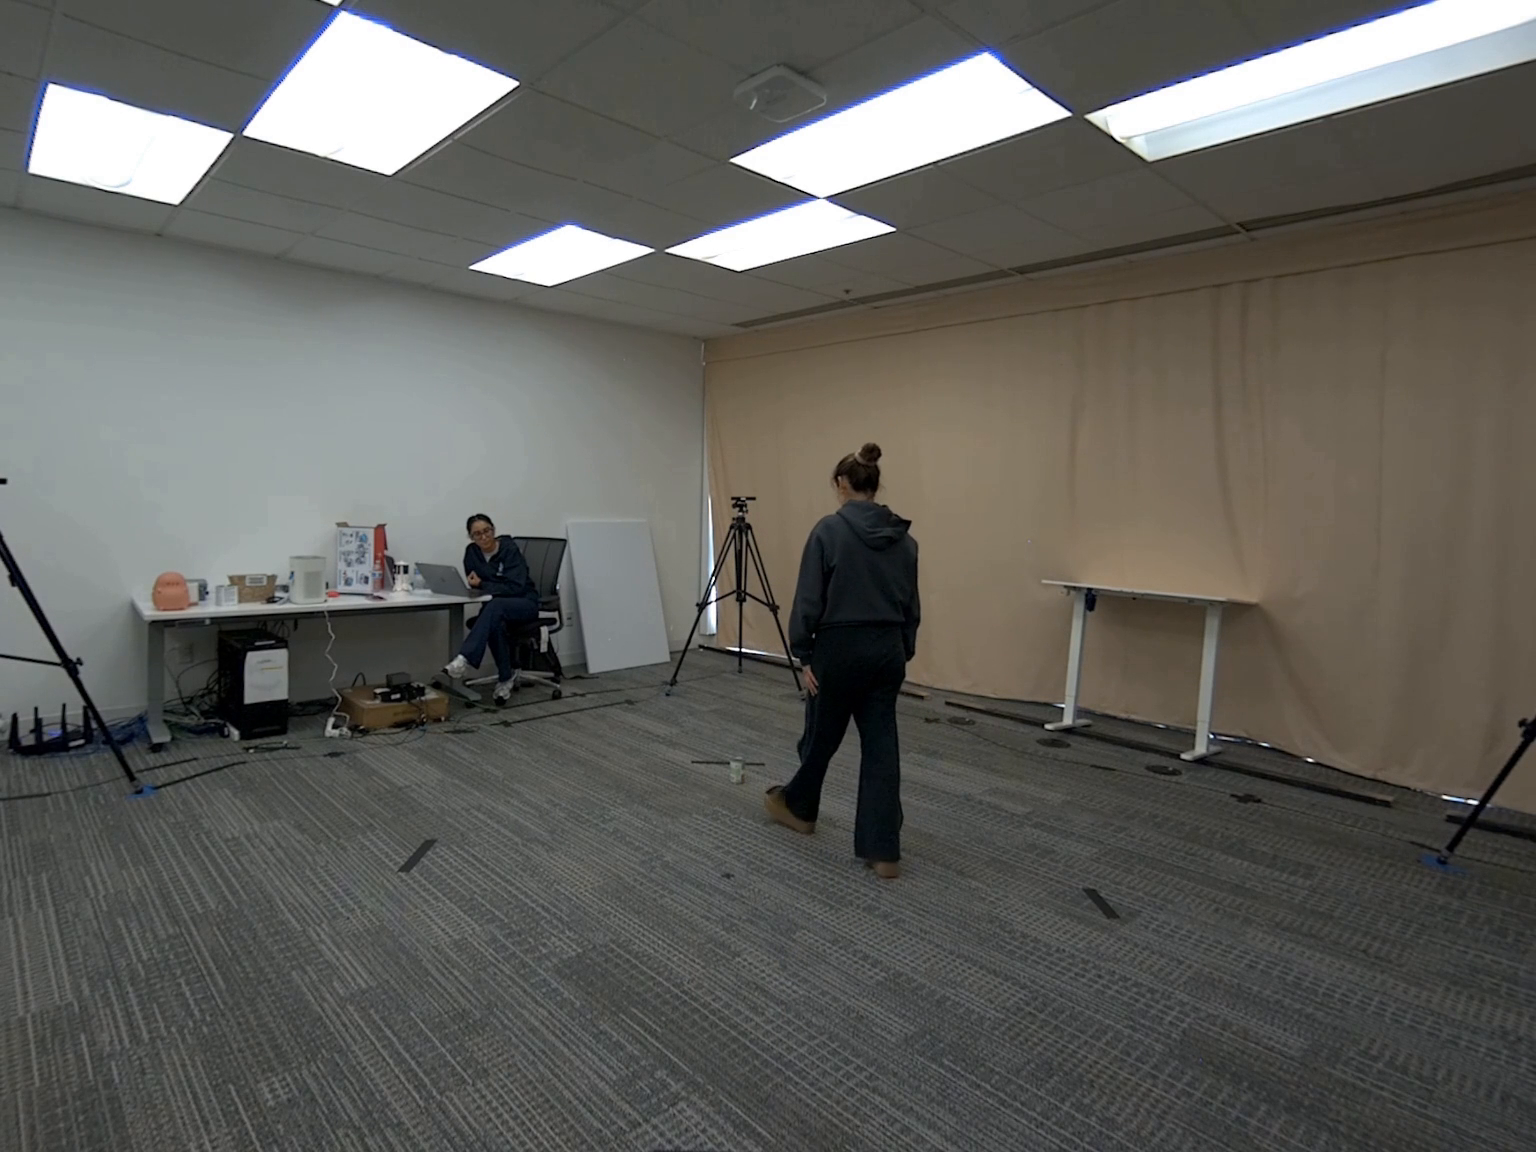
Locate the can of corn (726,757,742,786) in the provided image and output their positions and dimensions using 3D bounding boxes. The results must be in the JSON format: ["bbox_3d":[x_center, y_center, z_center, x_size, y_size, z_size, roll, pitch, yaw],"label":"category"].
[{"bbox_3d":[-0.170,0.962,4.174,0.074,0.110,0.074,0,6,-1],"label":"can of corn"}]
